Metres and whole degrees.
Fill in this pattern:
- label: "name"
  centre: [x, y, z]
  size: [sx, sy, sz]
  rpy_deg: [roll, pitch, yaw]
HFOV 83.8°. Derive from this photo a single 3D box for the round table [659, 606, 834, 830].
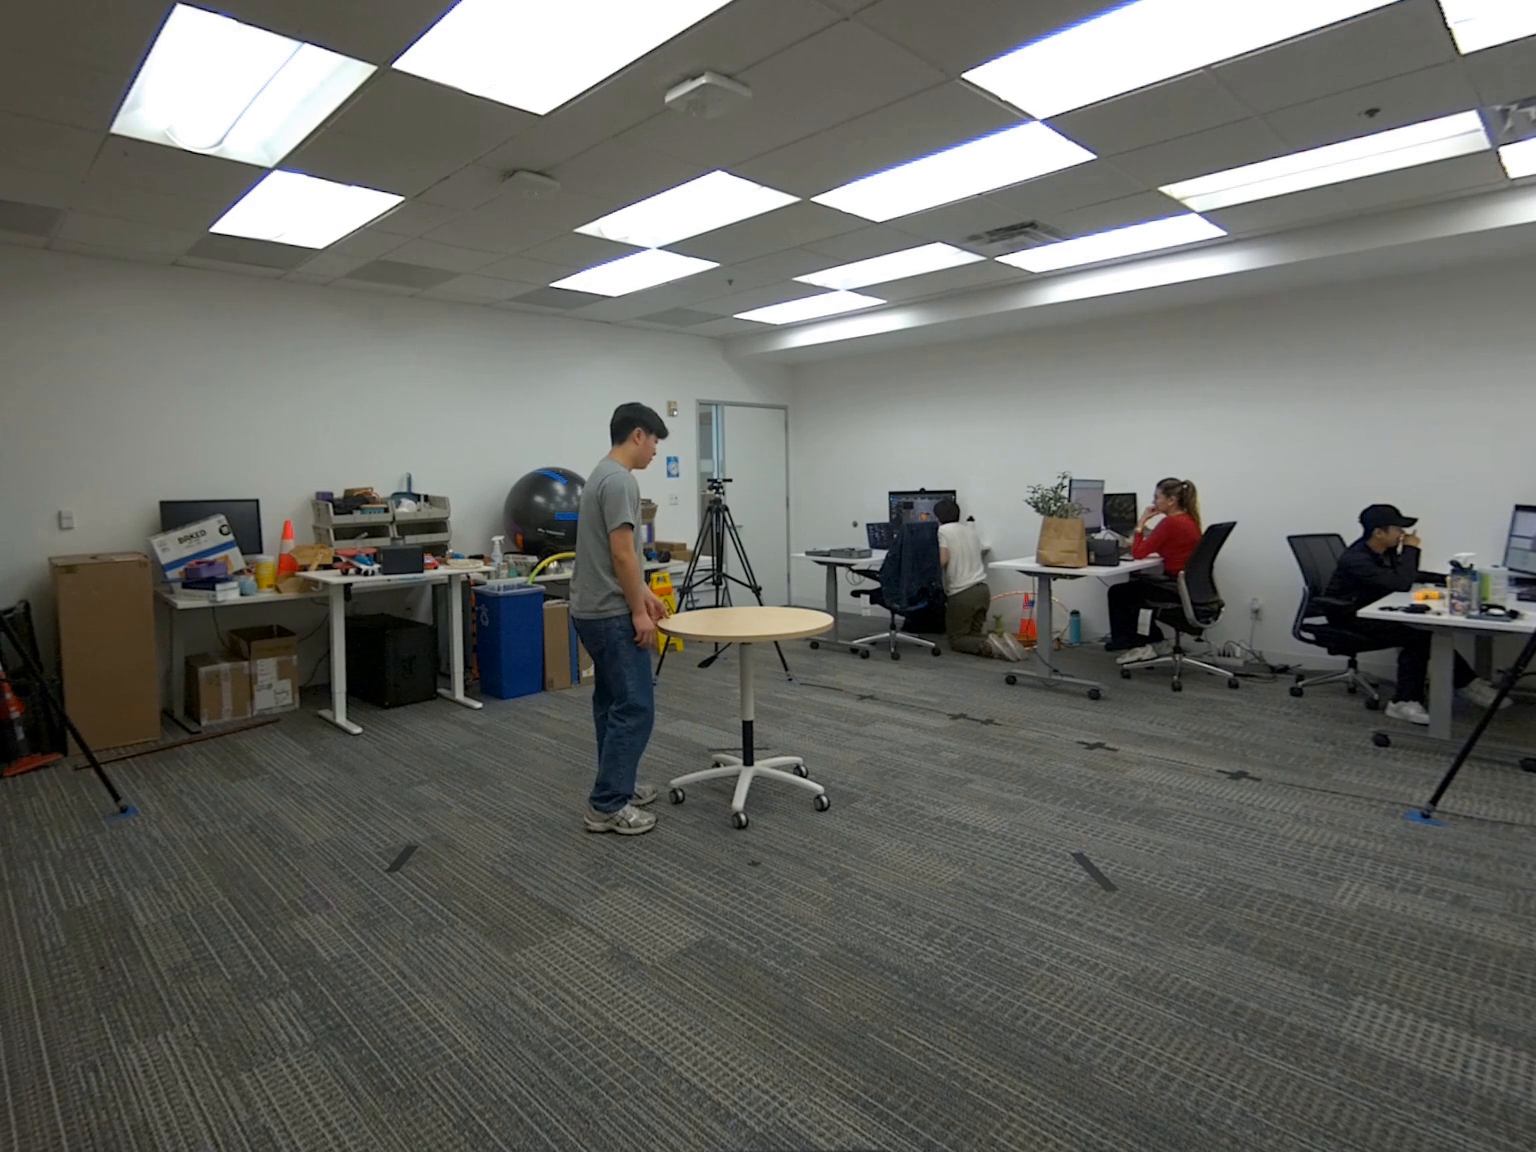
- label: "round table"
  centre: [-0.090, 0.584, 3.745]
  size: [0.763, 0.791, 0.767]
  rpy_deg: [-2, 4, -2]
